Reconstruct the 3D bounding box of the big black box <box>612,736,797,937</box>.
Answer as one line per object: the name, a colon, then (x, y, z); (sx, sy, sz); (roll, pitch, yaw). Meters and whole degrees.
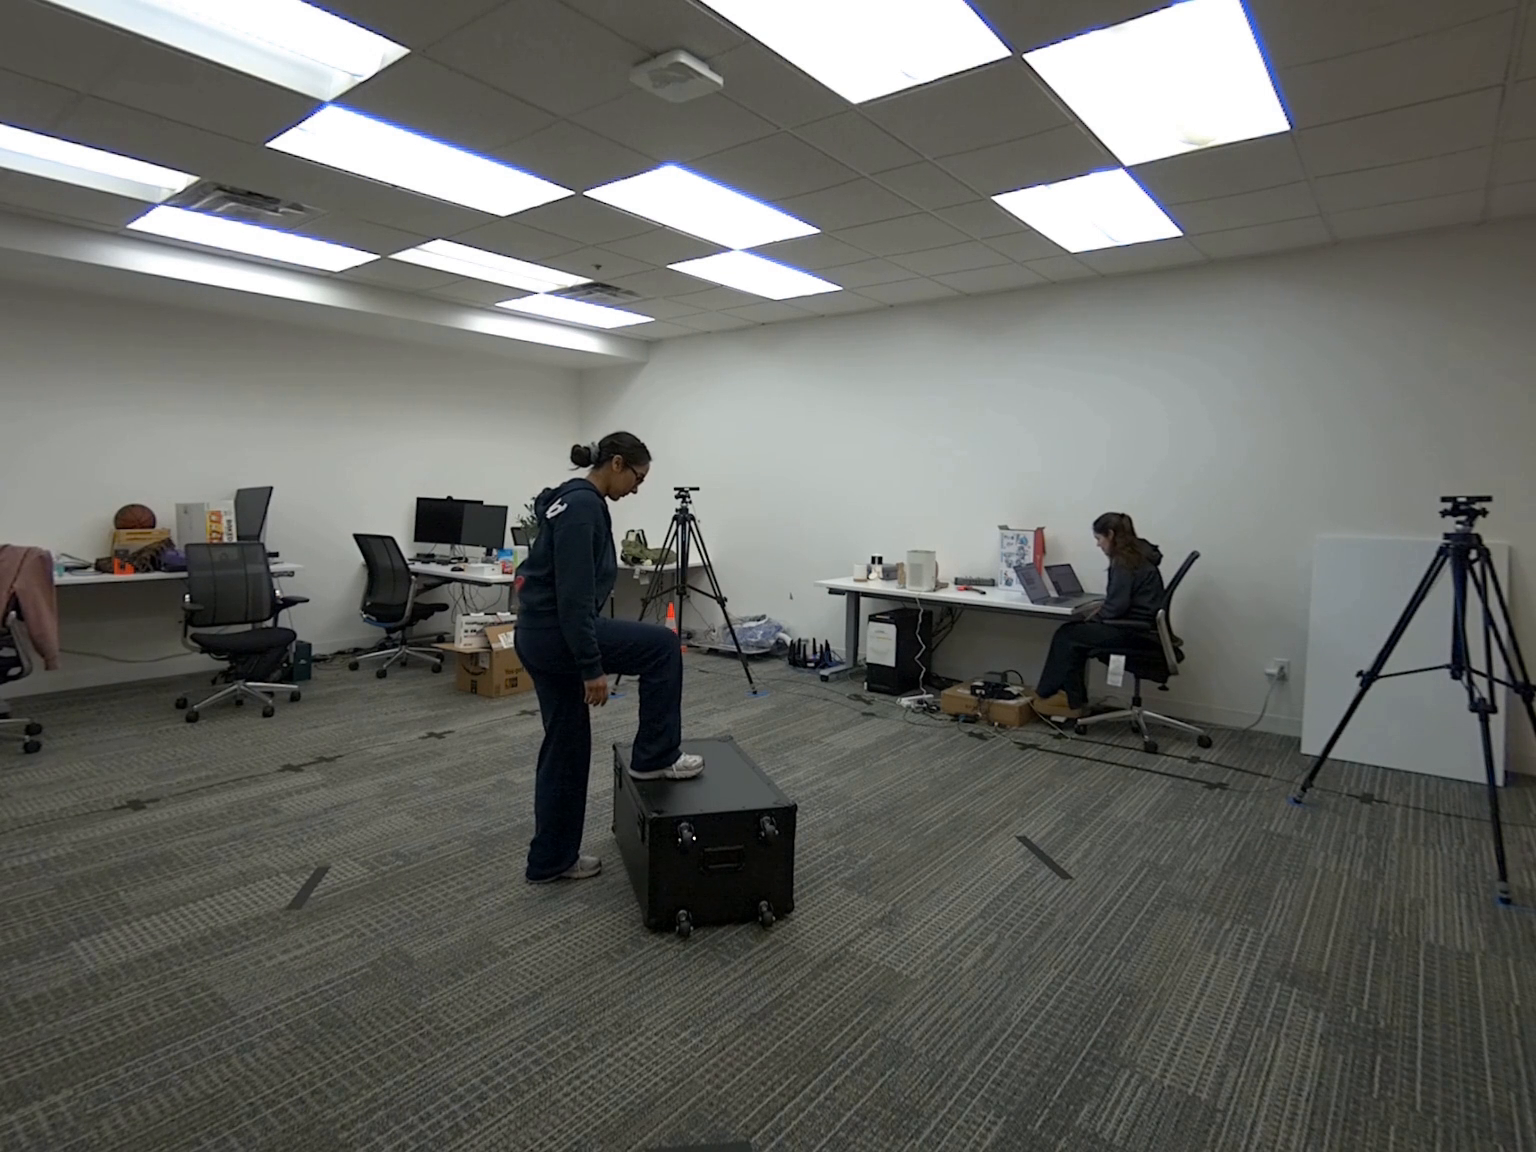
big black box: (-0.263, 0.883, 3.017); (0.512, 0.395, 0.880); (-1, 5, -18)
